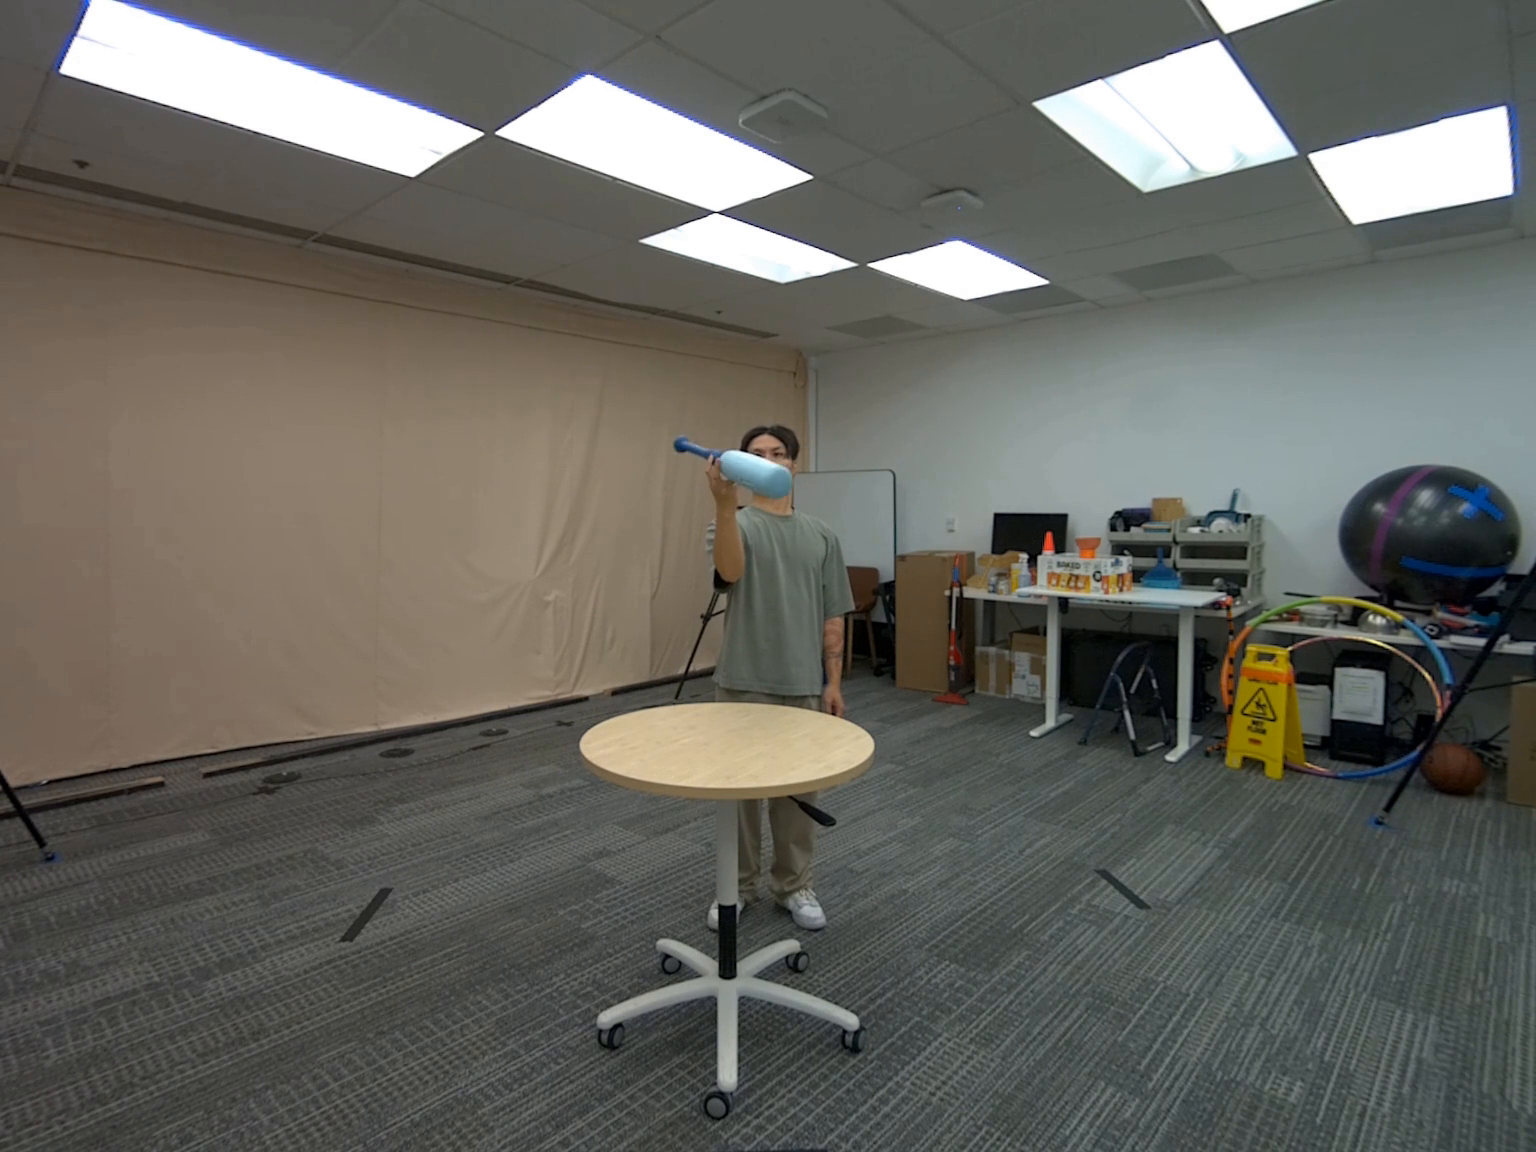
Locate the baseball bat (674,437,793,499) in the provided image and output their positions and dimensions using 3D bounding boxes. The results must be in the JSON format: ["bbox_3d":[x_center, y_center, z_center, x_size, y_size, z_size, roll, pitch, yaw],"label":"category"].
[{"bbox_3d":[-0.114,-0.299,2.310,0.086,0.088,0.562,-3,19,-33],"label":"baseball bat"}]
